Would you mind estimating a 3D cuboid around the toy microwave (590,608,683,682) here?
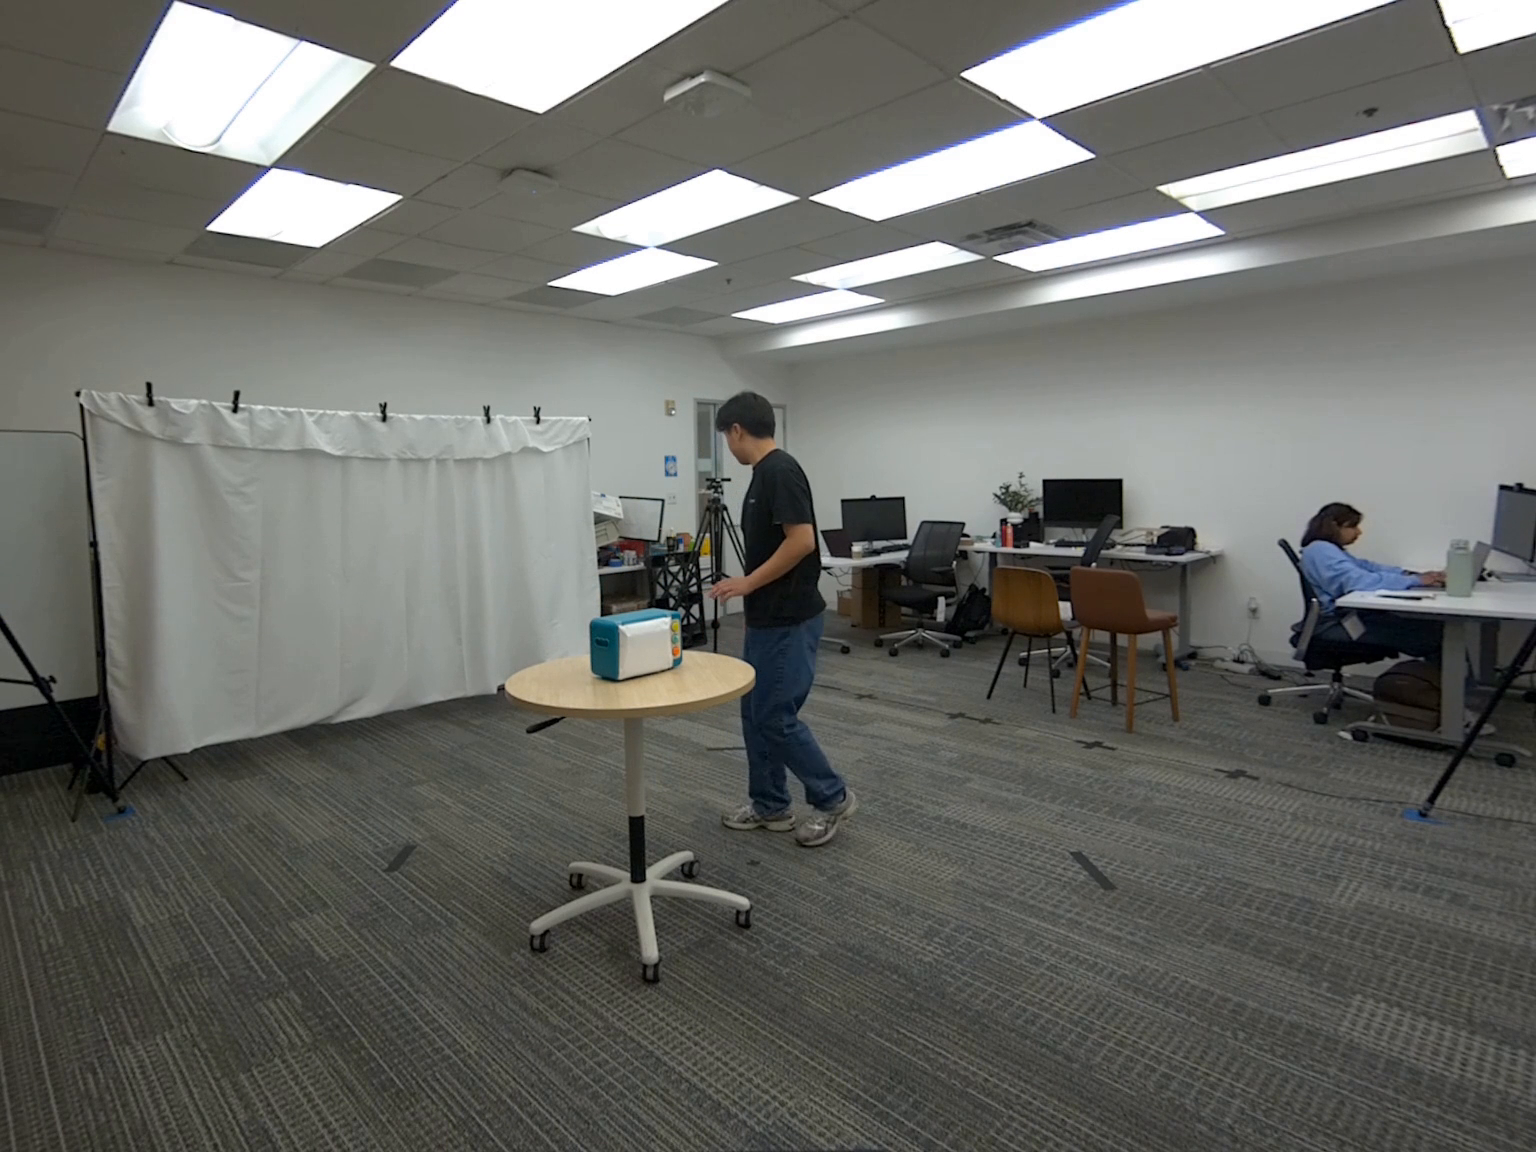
[{"bbox_3d":[-0.402,0.212,2.670,0.157,0.183,0.279,3,8,43],"label":"toy microwave"}]
